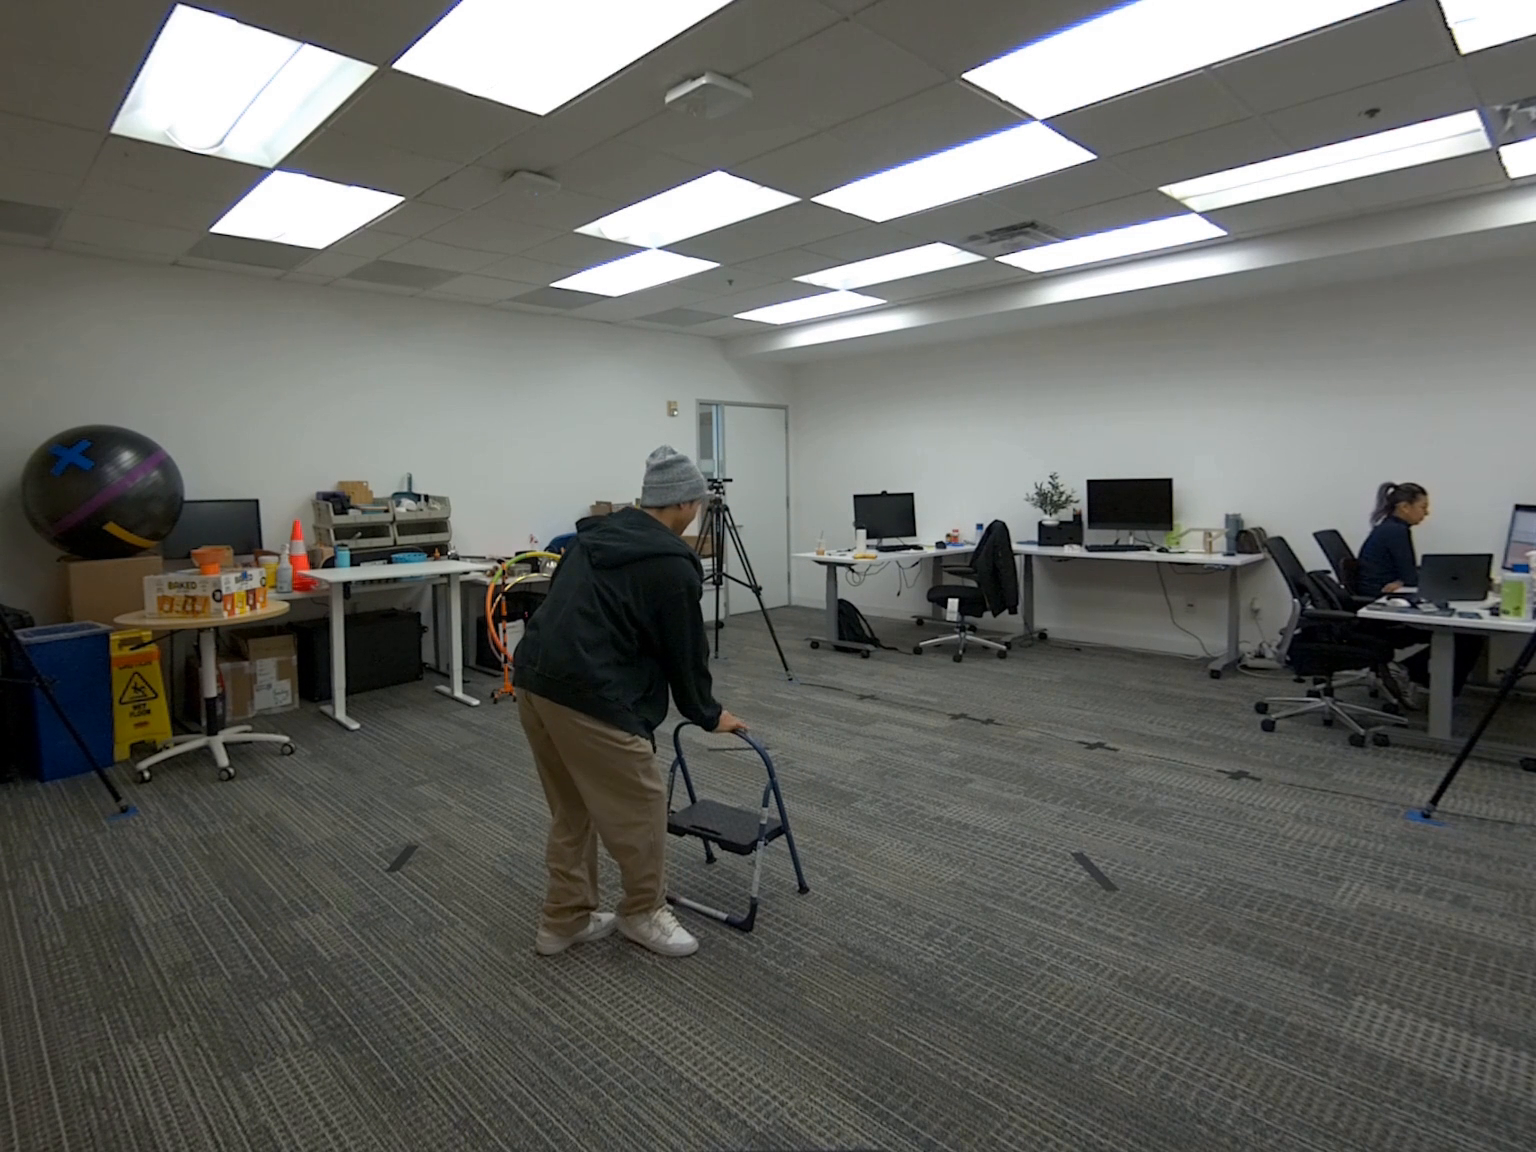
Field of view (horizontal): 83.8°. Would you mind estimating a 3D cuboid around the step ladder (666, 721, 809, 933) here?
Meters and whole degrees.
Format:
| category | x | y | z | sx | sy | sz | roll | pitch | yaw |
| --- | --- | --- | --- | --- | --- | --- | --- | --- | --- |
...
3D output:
| category | x | y | z | sx | sy | sz | roll | pitch | yaw |
| --- | --- | --- | --- | --- | --- | --- | --- | --- | --- |
| step ladder | -0.134 | 0.770 | 2.867 | 0.443 | 0.604 | 0.341 | 2 | 5 | 35 |
